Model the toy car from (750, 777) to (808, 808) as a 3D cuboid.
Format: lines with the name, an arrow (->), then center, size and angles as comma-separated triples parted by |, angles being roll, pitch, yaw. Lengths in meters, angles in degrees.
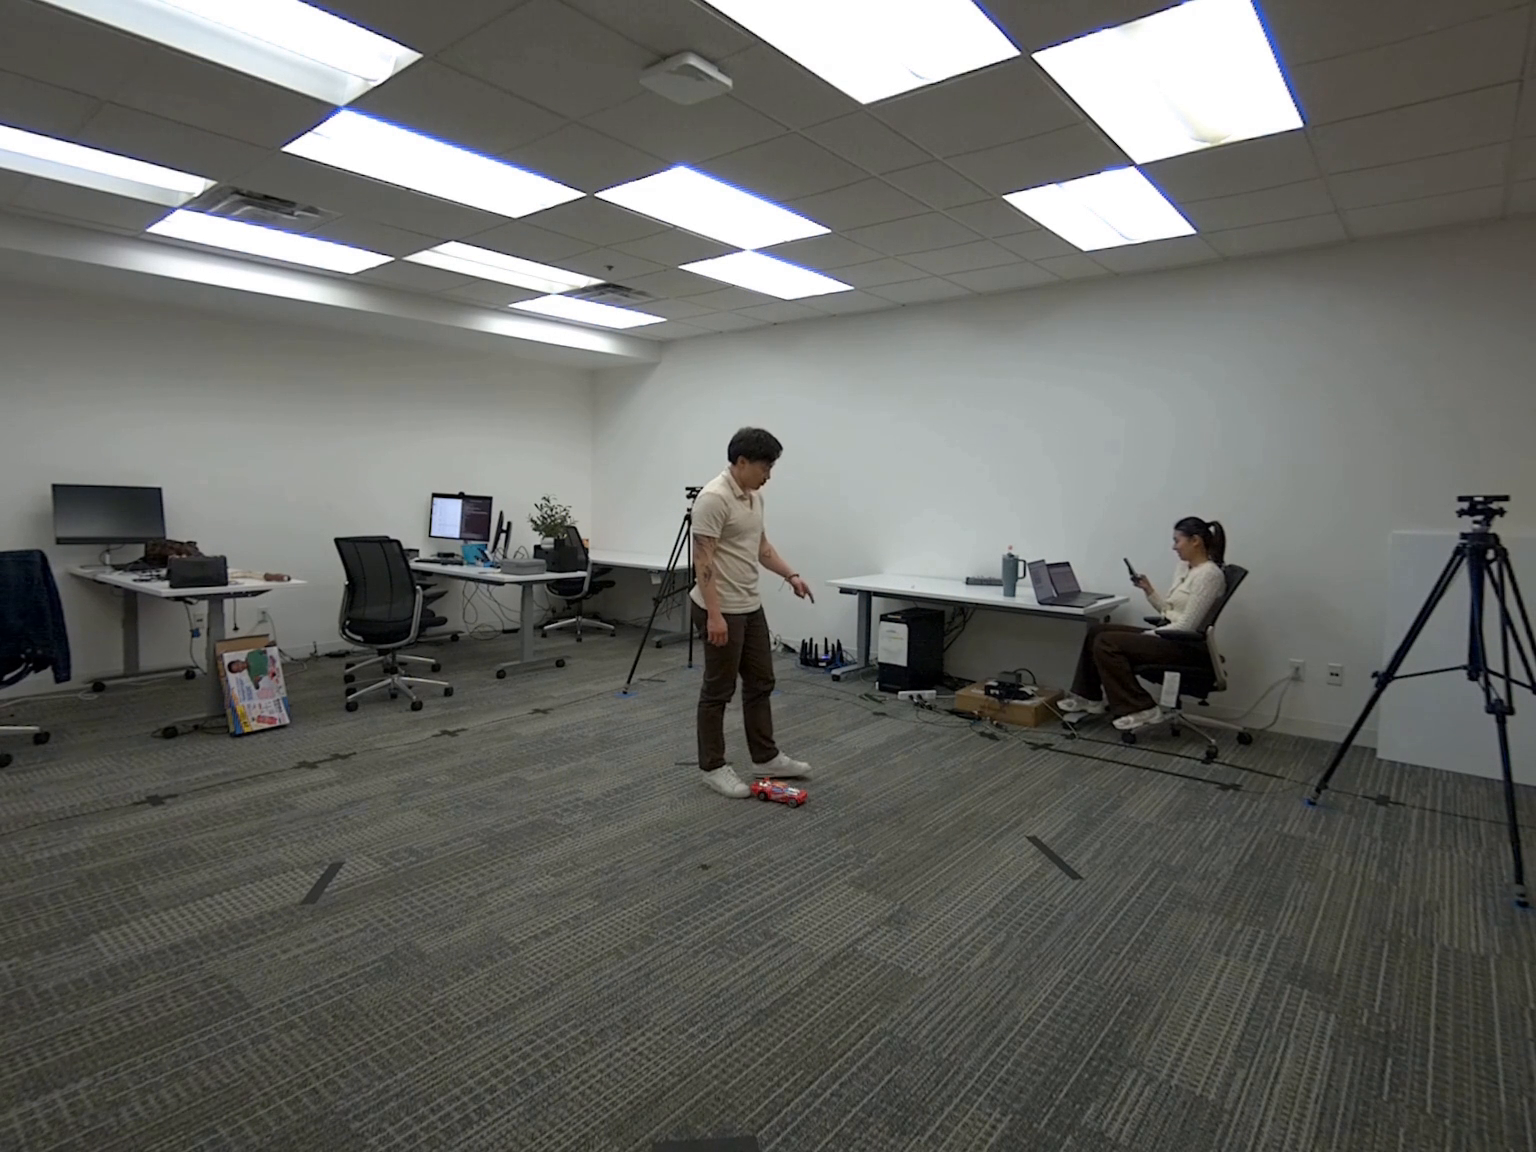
toy car -> 0.034, 0.969, 3.816 | 0.262, 0.082, 0.127 | 15, 10, 26
